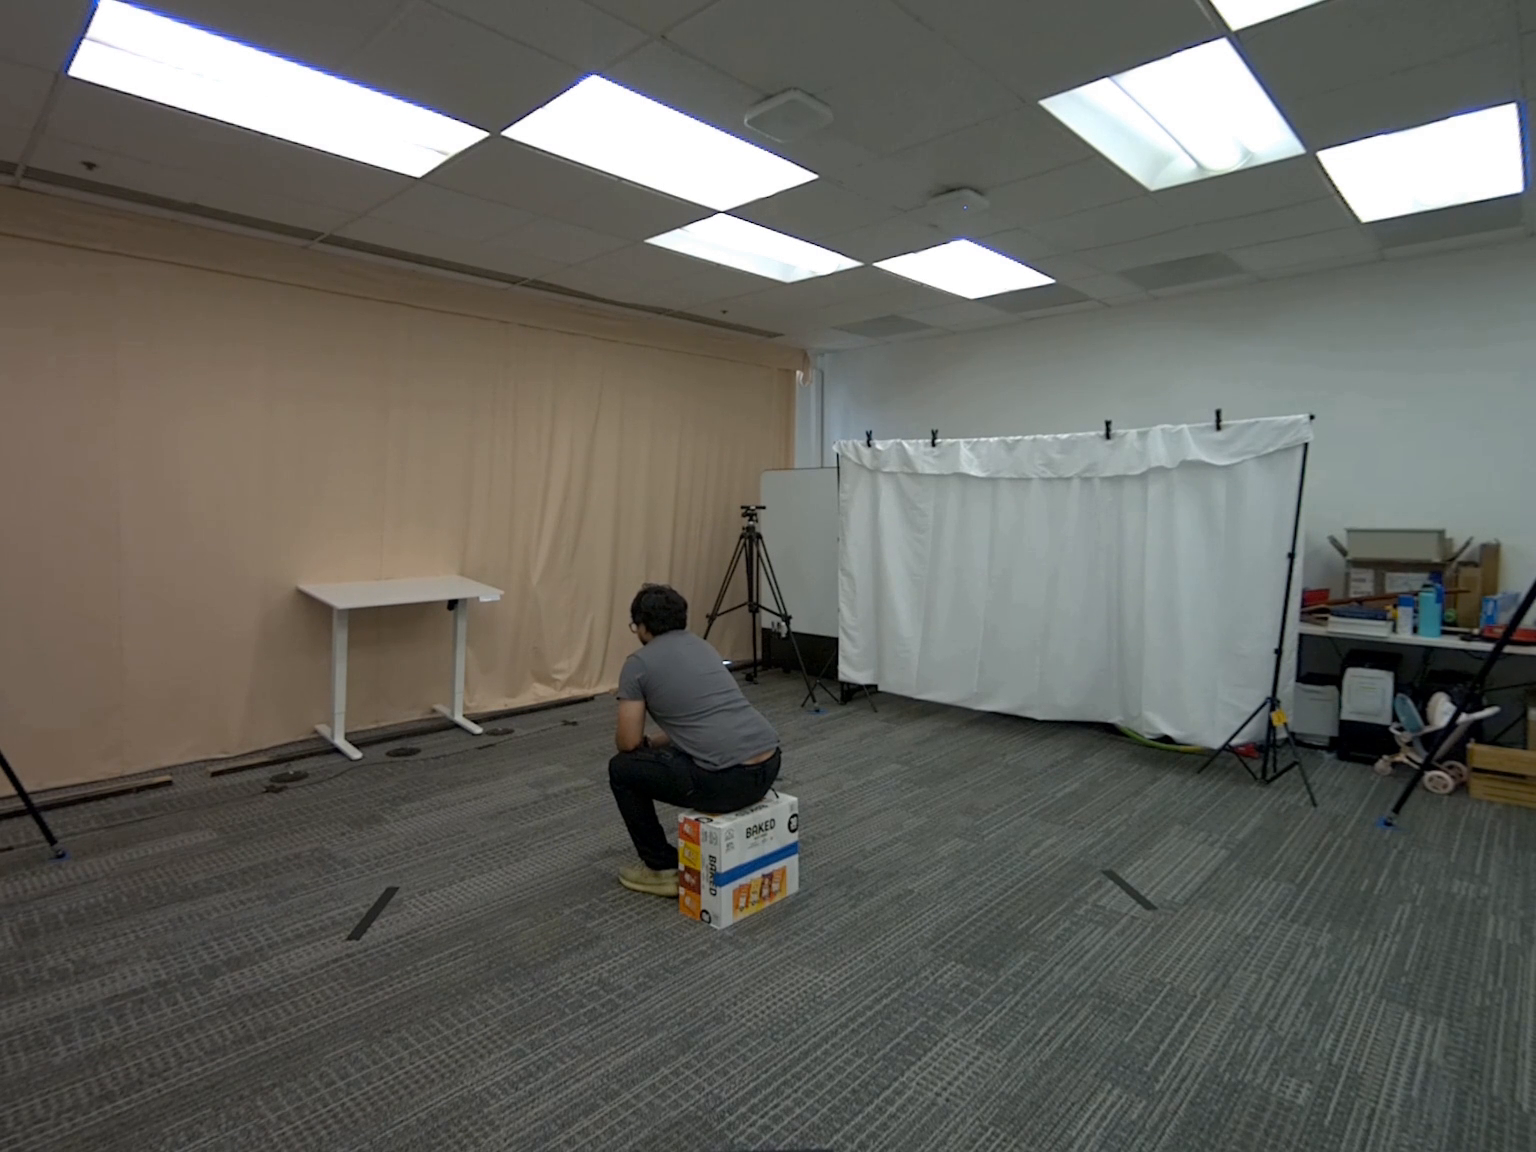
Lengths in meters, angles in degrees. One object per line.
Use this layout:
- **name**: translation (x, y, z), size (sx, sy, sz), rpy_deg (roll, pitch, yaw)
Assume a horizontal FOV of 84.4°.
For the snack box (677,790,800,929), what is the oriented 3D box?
- **snack box**: translation (-0.093, 0.979, 2.963), size (0.212, 0.340, 0.393), rpy_deg (2, 4, 43)
